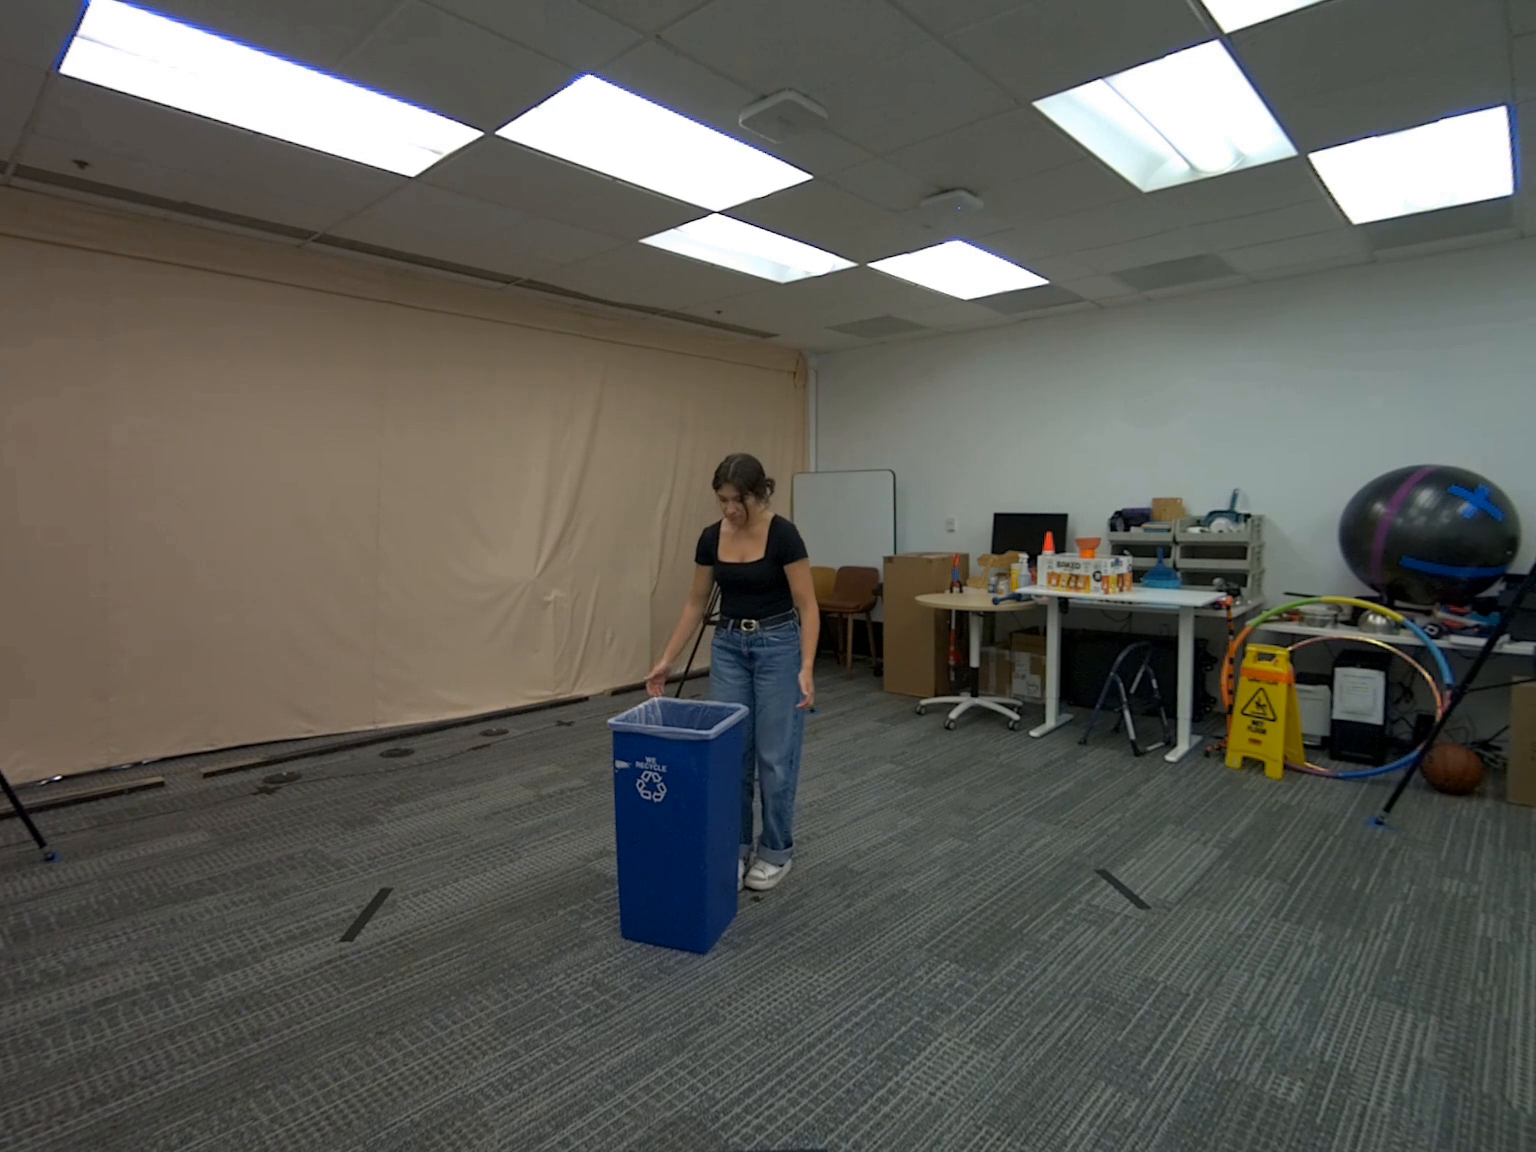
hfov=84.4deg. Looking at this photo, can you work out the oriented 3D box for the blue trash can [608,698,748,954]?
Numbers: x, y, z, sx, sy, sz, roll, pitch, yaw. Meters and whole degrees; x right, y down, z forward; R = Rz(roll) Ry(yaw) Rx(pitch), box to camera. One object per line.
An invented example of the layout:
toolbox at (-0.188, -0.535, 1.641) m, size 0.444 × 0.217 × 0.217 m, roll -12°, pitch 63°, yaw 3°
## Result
blue trash can at (-0.284, 0.805, 2.779) m, size 0.382 × 0.712 × 0.371 m, roll 1°, pitch 3°, yaw 20°
